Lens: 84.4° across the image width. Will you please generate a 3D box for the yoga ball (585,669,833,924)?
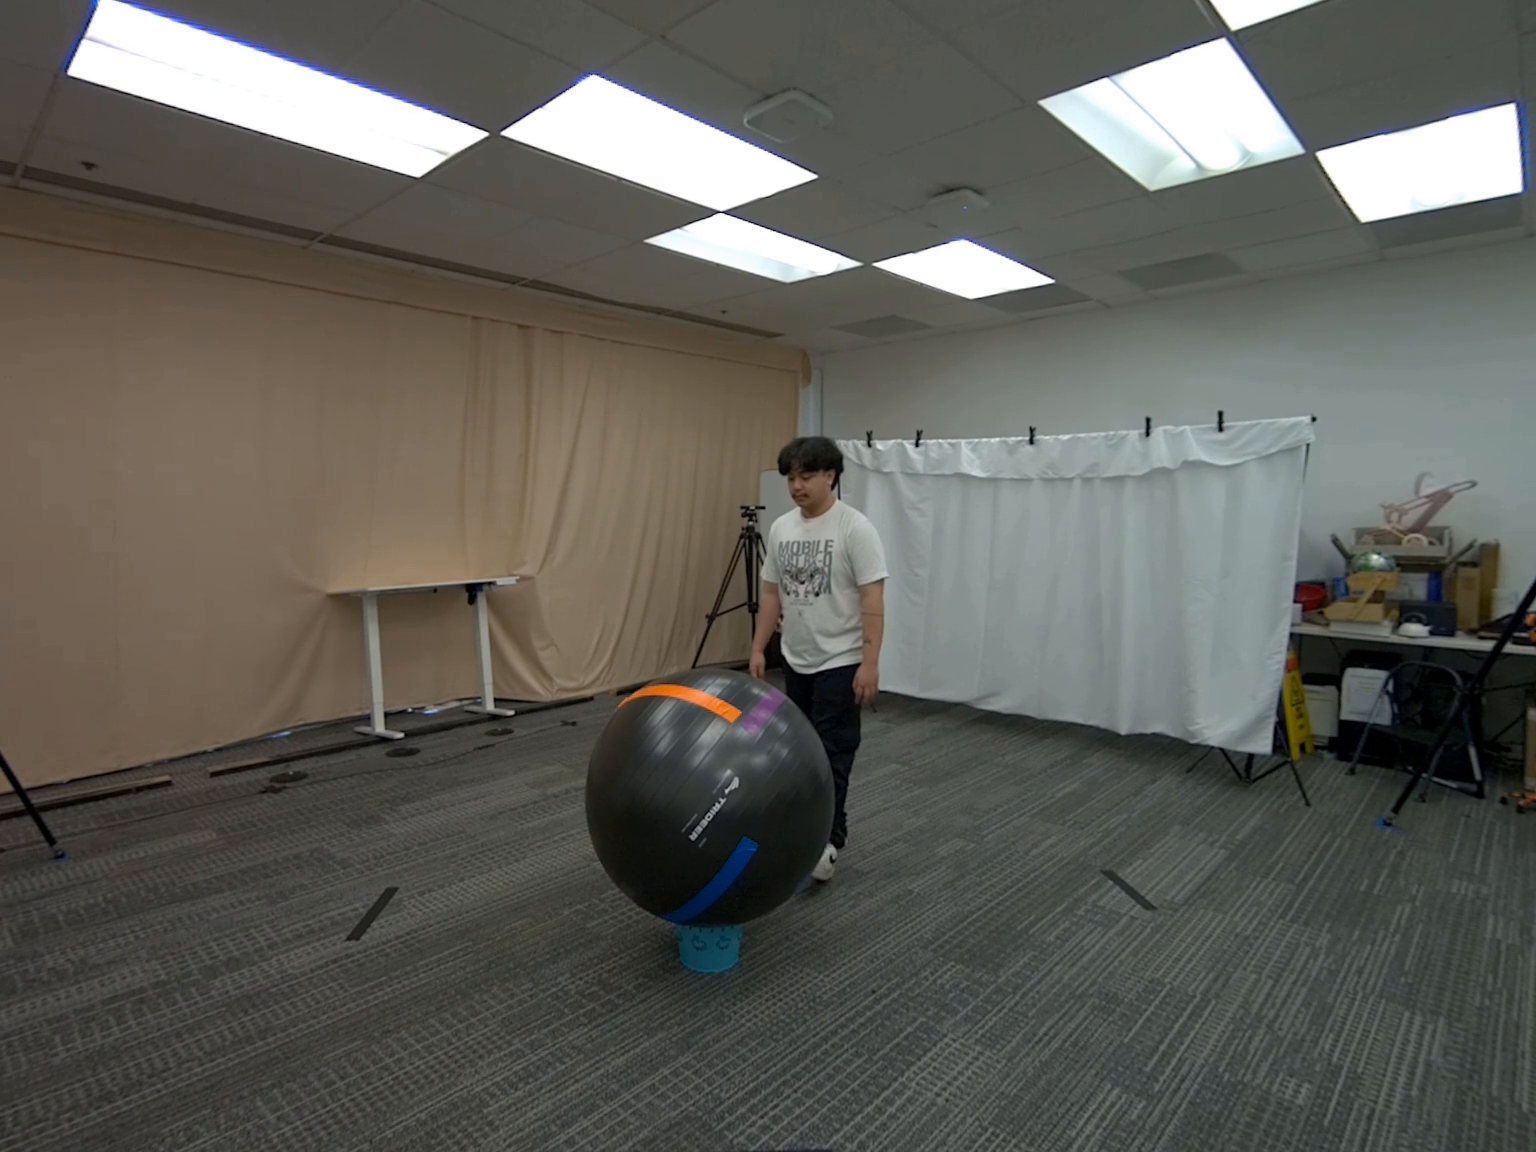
[{"bbox_3d":[-0.180,0.666,2.580,0.757,0.756,0.760,0,4,-2],"label":"yoga ball"}]
